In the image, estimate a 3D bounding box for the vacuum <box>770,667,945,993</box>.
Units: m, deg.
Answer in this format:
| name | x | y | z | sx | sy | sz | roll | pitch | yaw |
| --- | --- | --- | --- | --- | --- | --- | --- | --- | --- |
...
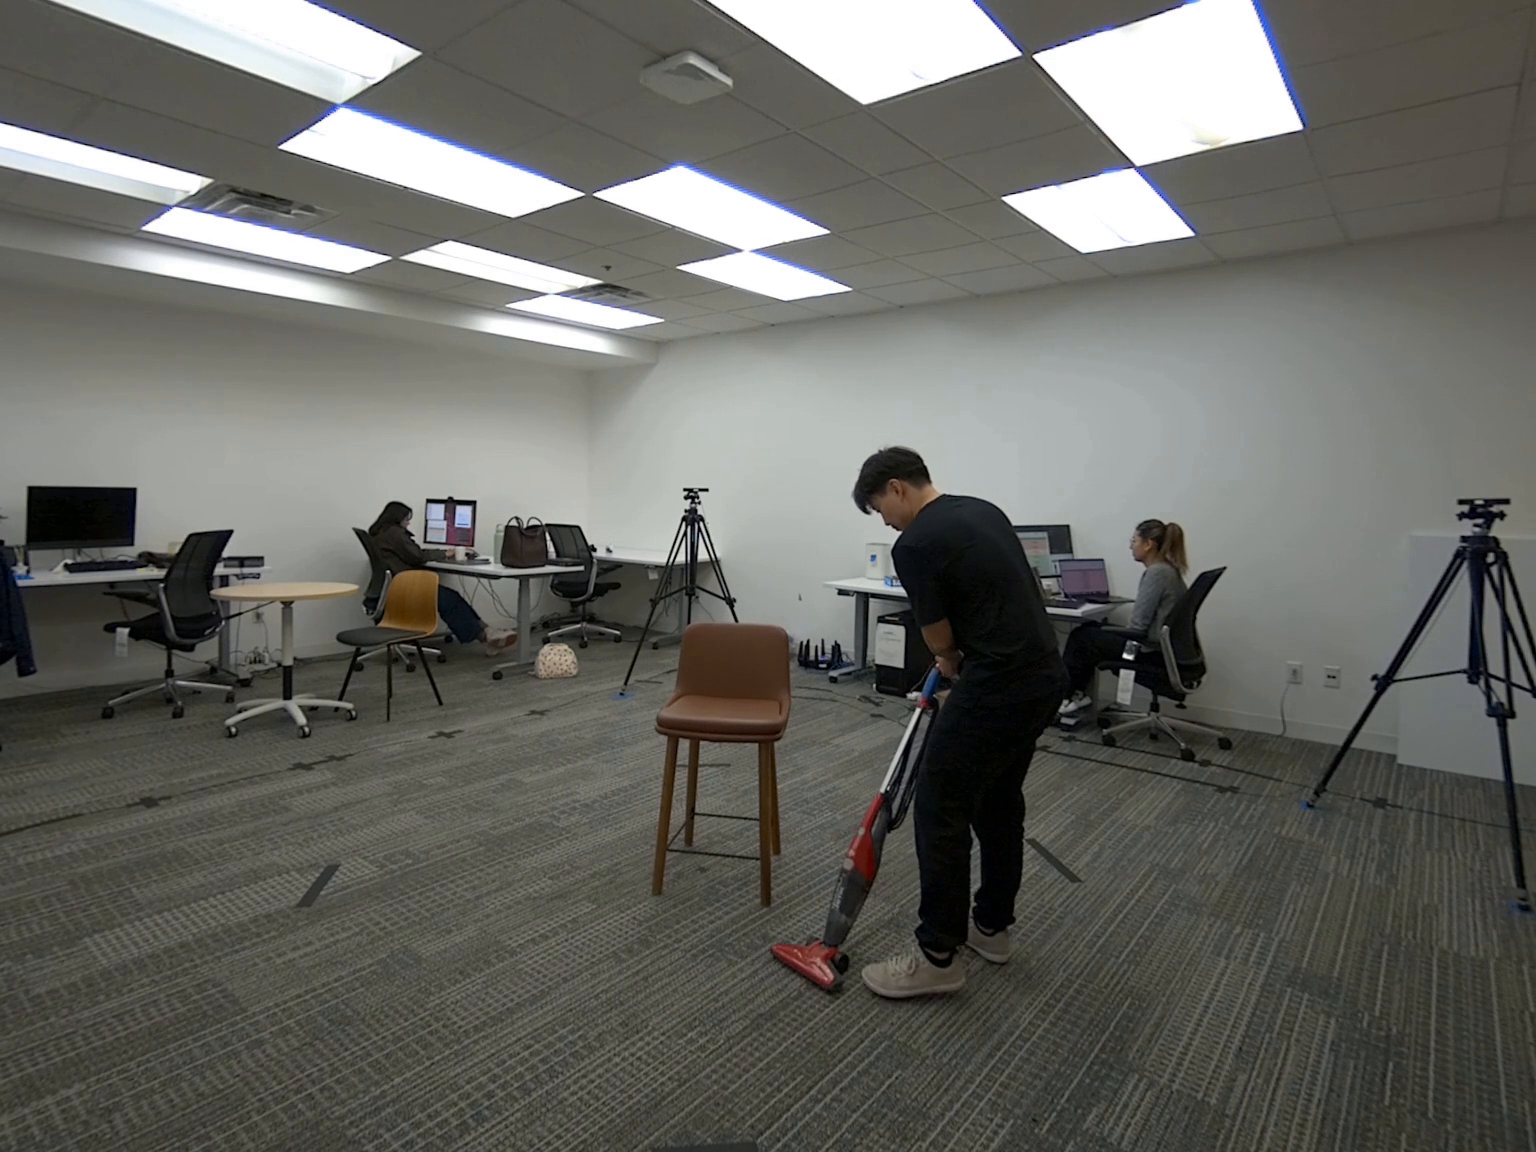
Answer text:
| name | x | y | z | sx | sy | sz | roll | pitch | yaw |
| --- | --- | --- | --- | --- | --- | --- | --- | --- | --- |
| vacuum | 0.354 | 0.703 | 2.637 | 0.261 | 1.055 | 0.138 | 4 | -33 | 49 |
